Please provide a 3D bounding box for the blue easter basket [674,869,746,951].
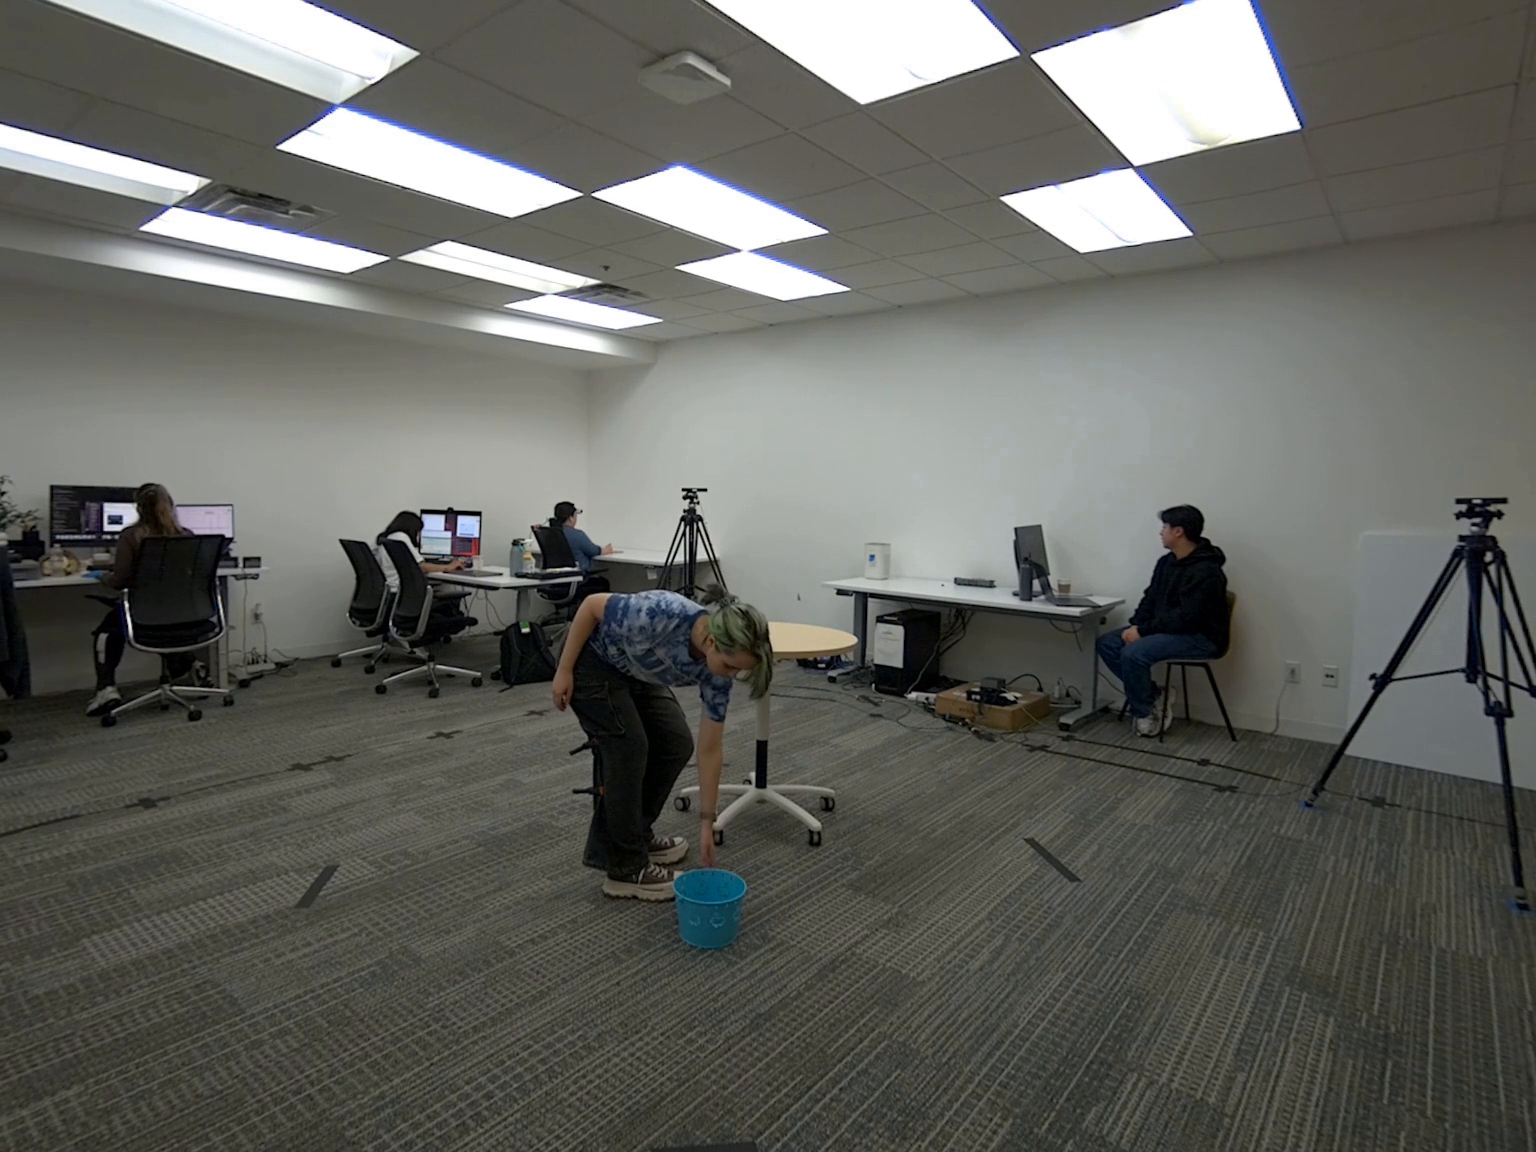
[{"bbox_3d":[-0.189,1.034,2.658,0.243,0.155,0.245,1,6,-2],"label":"blue easter basket"}]
